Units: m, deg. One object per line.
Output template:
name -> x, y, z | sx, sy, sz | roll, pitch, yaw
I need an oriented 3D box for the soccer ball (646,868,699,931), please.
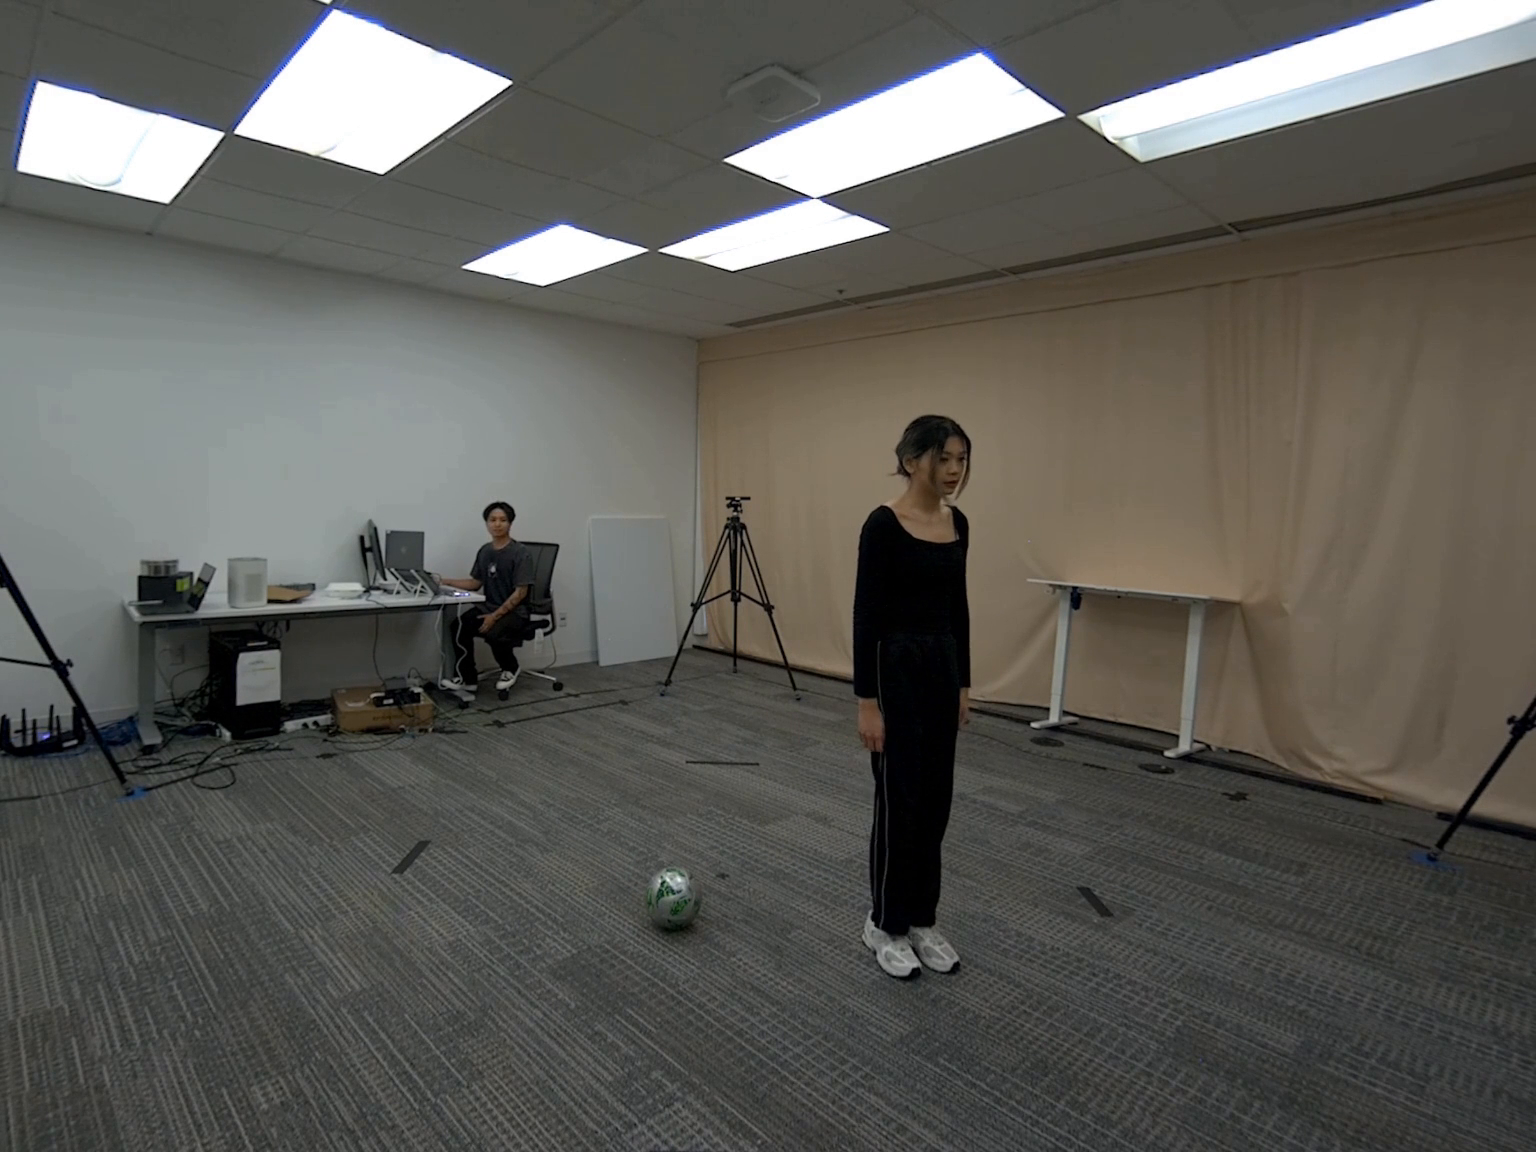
soccer ball -> -0.308, 1.043, 2.722 | 0.187, 0.187, 0.188 | 1, 4, -1
